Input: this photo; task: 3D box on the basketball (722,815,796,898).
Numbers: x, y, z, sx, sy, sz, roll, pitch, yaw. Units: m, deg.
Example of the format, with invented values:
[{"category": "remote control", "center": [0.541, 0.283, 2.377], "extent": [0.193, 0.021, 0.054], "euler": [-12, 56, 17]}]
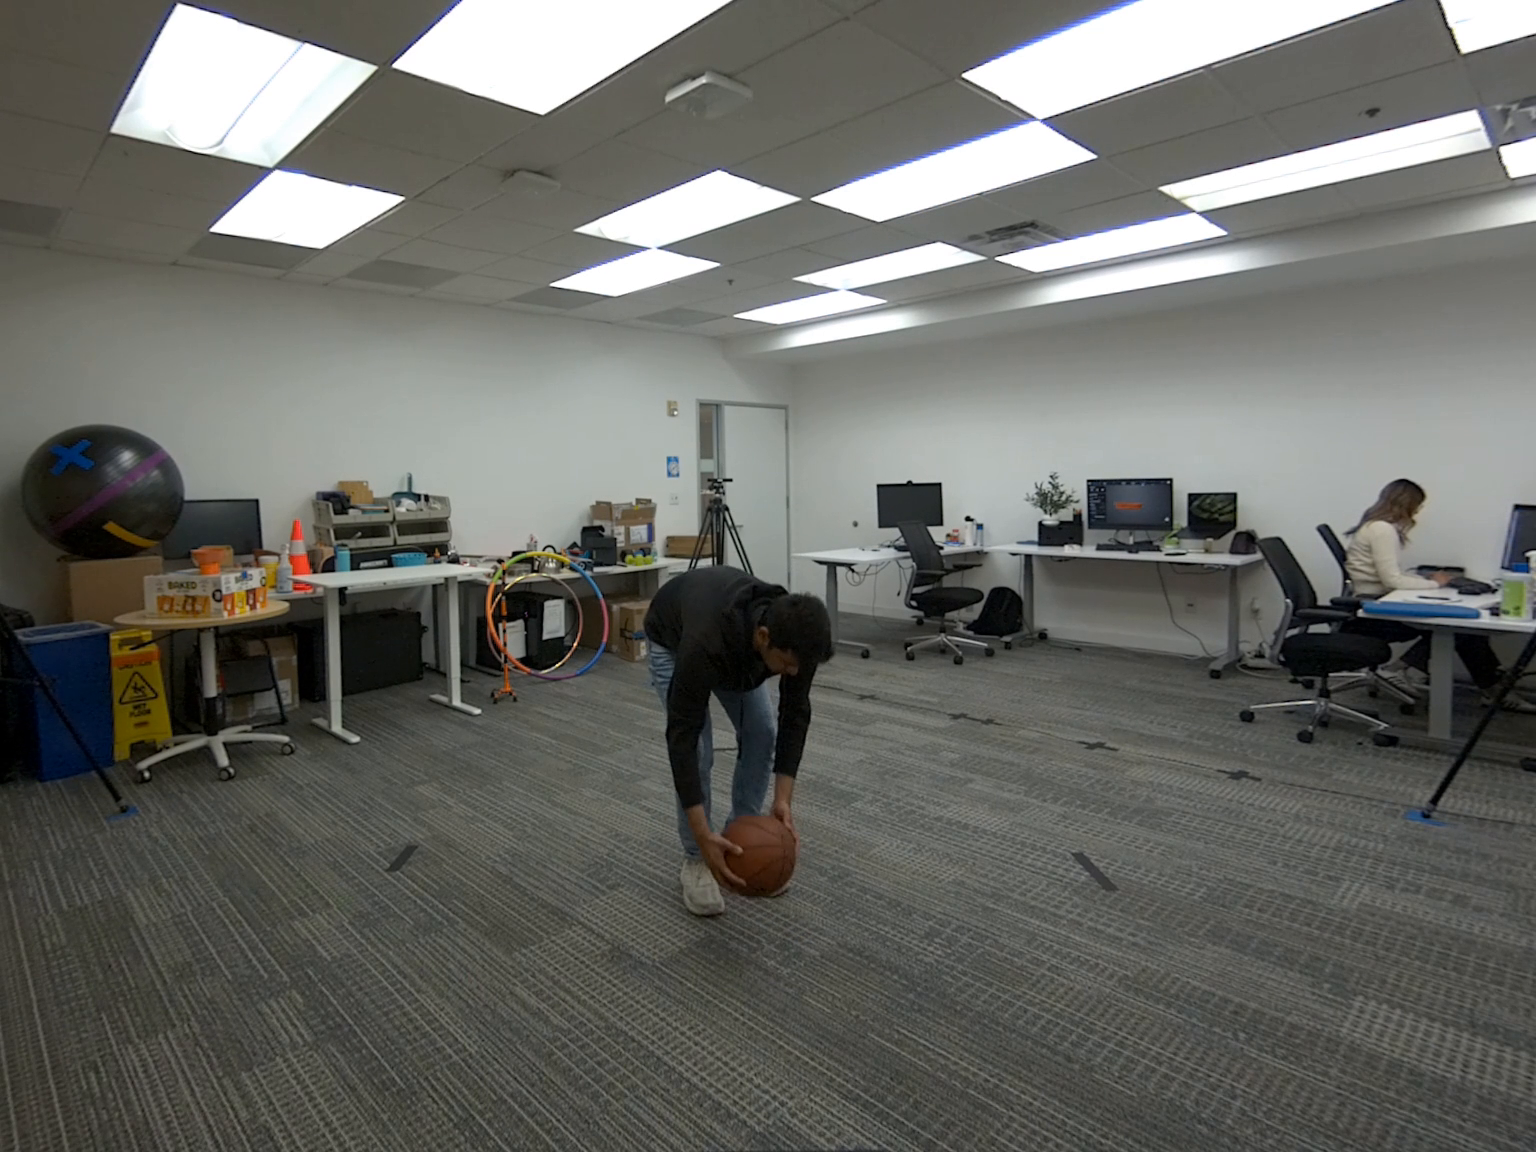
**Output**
[{"category": "basketball", "center": [-0.048, 0.813, 2.540], "extent": [0.236, 0.235, 0.237], "euler": [-1, 5, -2]}]
